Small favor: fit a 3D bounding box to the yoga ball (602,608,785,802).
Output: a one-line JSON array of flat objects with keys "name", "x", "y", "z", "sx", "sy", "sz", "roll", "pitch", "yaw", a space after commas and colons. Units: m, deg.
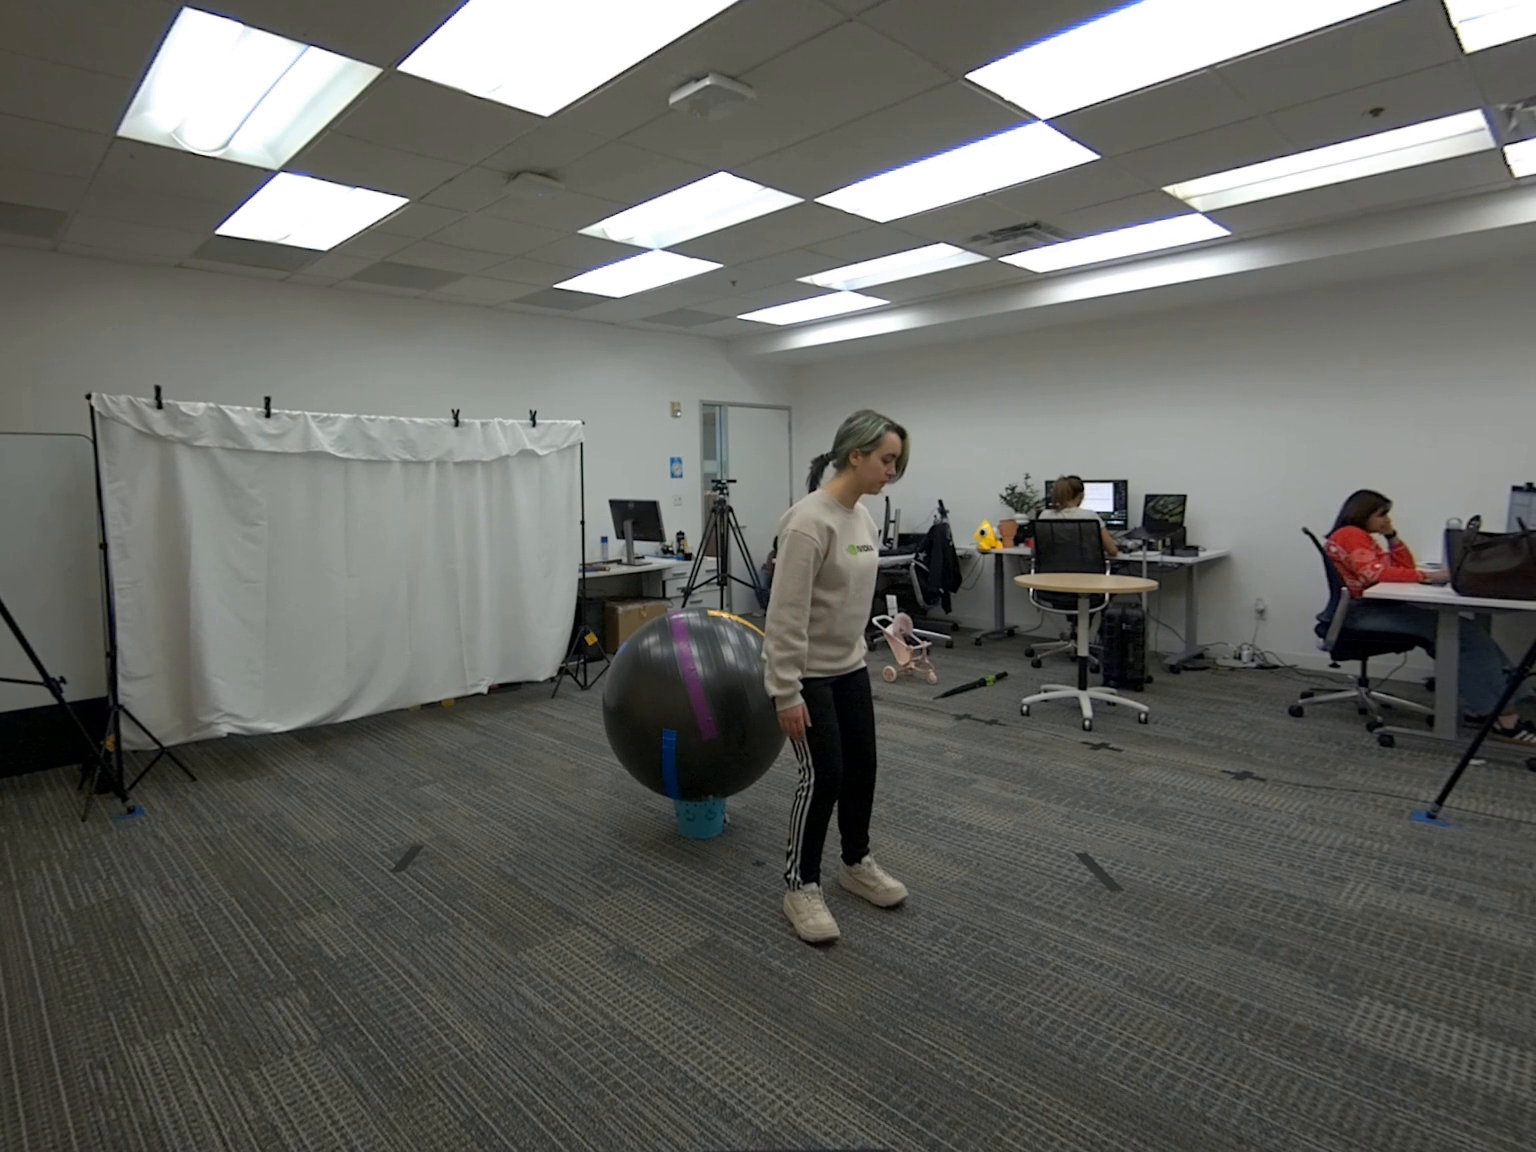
[{"name": "yoga ball", "x": -0.275, "y": 0.509, "z": 3.401, "sx": 0.757, "sy": 0.755, "sz": 0.762, "roll": -1, "pitch": 5, "yaw": -2}]
